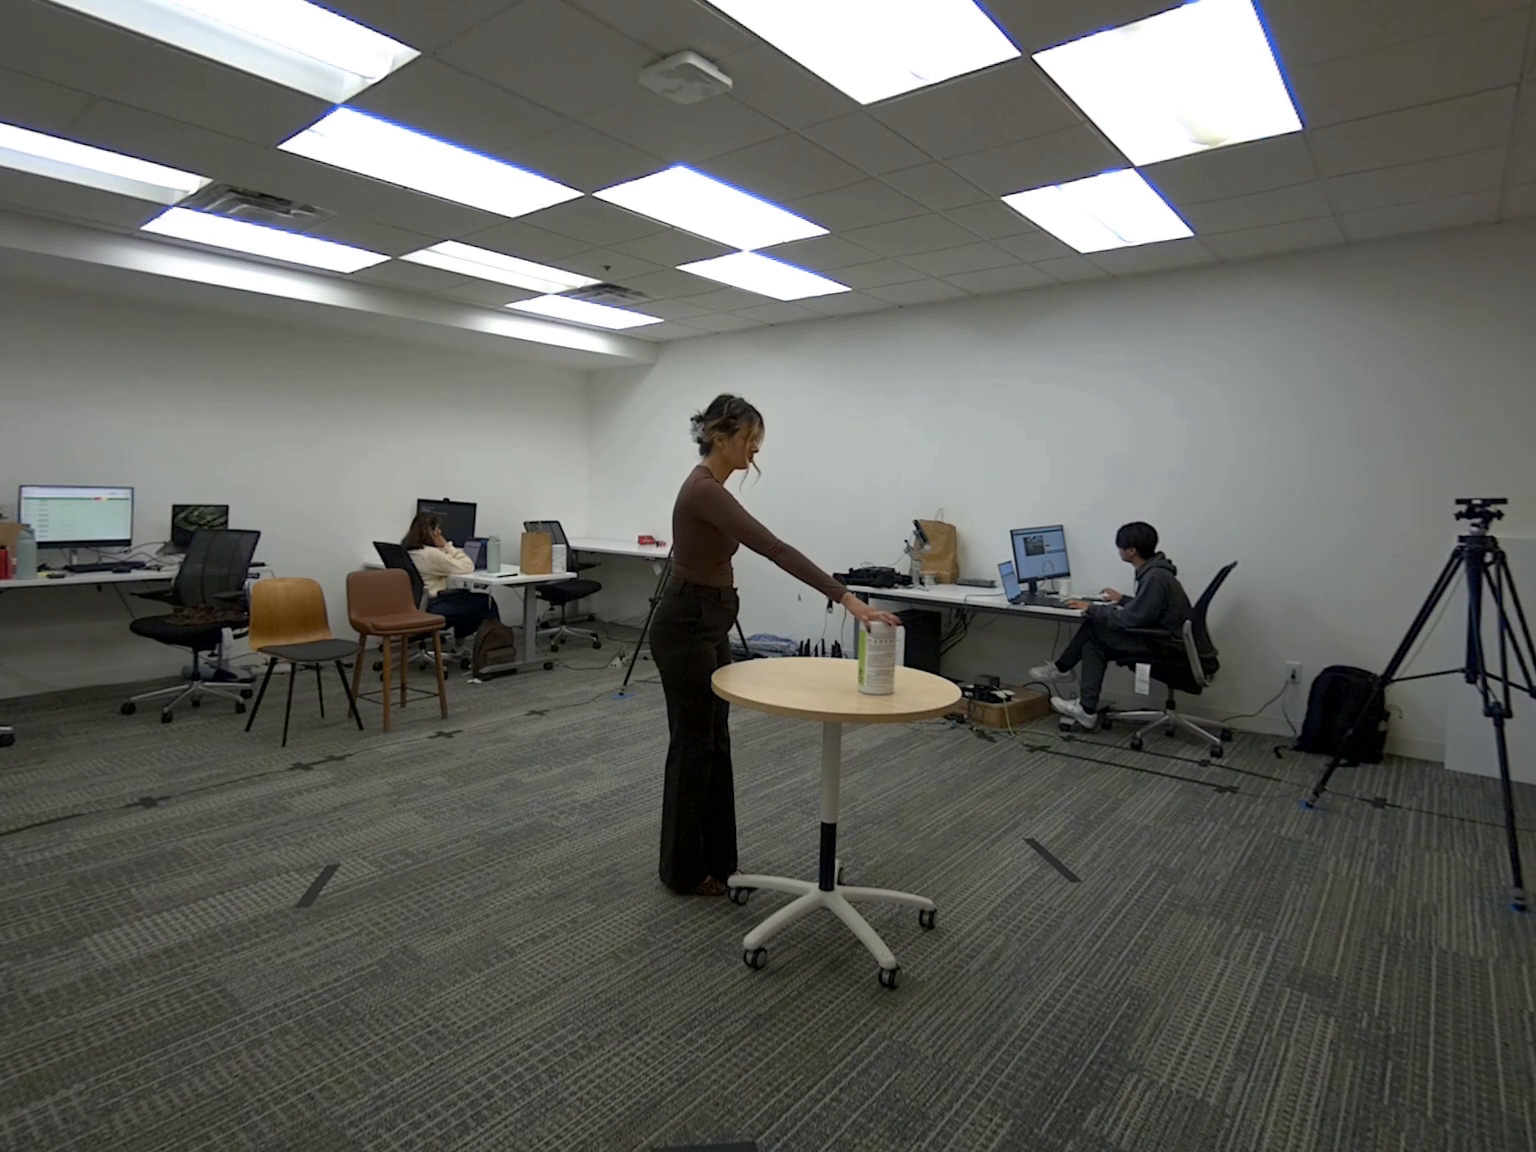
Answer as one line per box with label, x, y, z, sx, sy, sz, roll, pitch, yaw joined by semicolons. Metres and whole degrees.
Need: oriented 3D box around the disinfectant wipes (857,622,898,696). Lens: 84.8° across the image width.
disinfectant wipes;0.318;0.235;2.533;0.118;0.217;0.118;-1;3;-2
